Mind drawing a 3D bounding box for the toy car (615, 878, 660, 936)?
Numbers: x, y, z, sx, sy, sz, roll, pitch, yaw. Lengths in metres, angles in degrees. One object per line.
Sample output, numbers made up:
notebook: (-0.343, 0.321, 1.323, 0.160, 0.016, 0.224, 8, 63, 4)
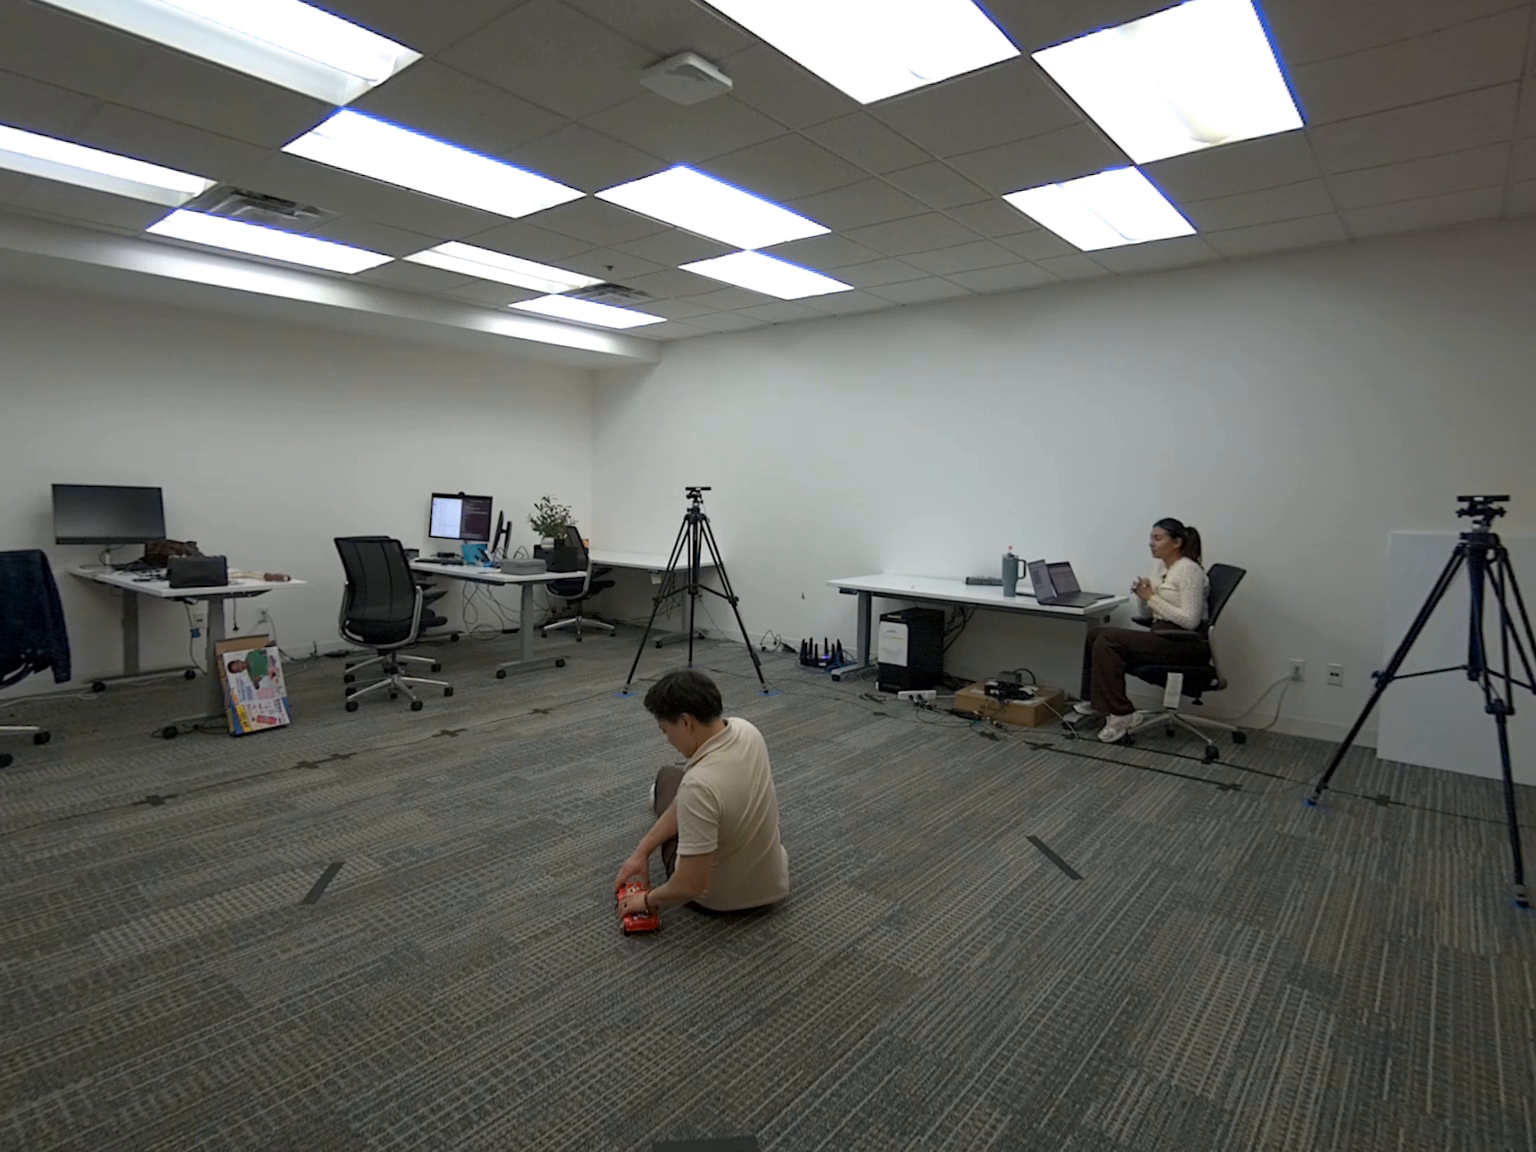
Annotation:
toy car: (-0.428, 1.068, 2.749, 0.128, 0.082, 0.262, -3, 17, -16)
